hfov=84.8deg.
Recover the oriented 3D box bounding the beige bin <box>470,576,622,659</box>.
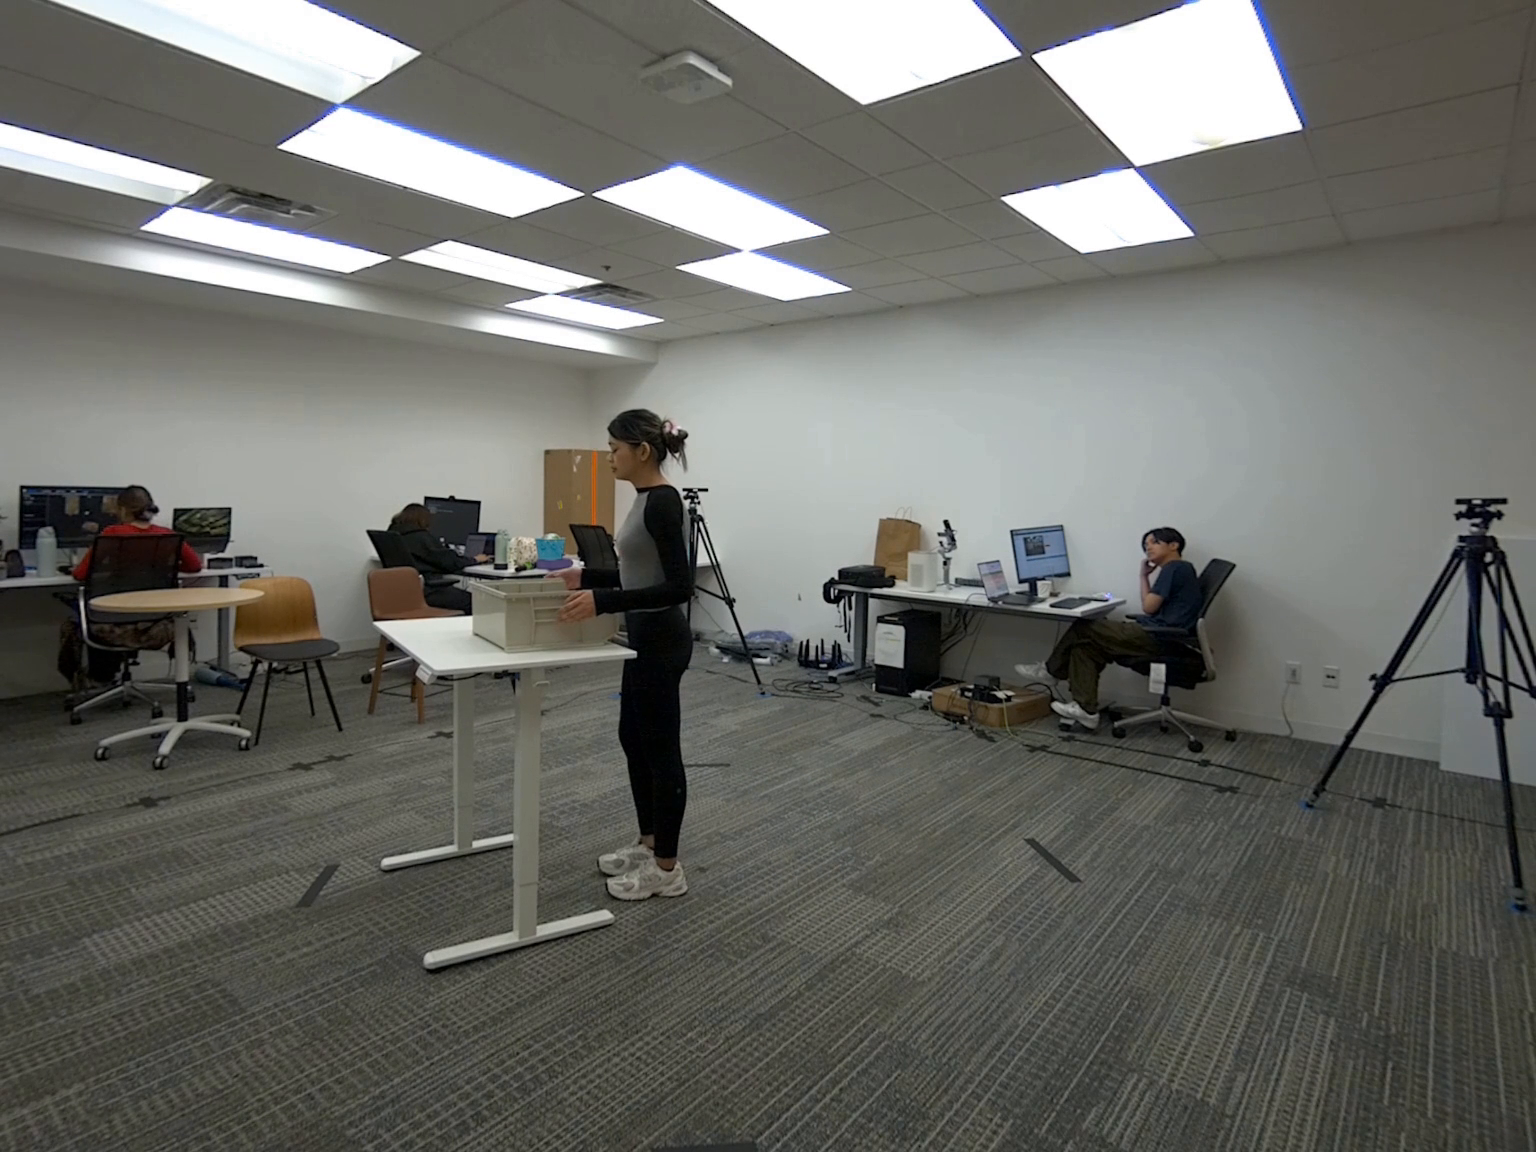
[{"bbox_3d":[-0.749,0.122,2.802,0.367,0.188,0.436,-4,7,-32],"label":"beige bin"}]
